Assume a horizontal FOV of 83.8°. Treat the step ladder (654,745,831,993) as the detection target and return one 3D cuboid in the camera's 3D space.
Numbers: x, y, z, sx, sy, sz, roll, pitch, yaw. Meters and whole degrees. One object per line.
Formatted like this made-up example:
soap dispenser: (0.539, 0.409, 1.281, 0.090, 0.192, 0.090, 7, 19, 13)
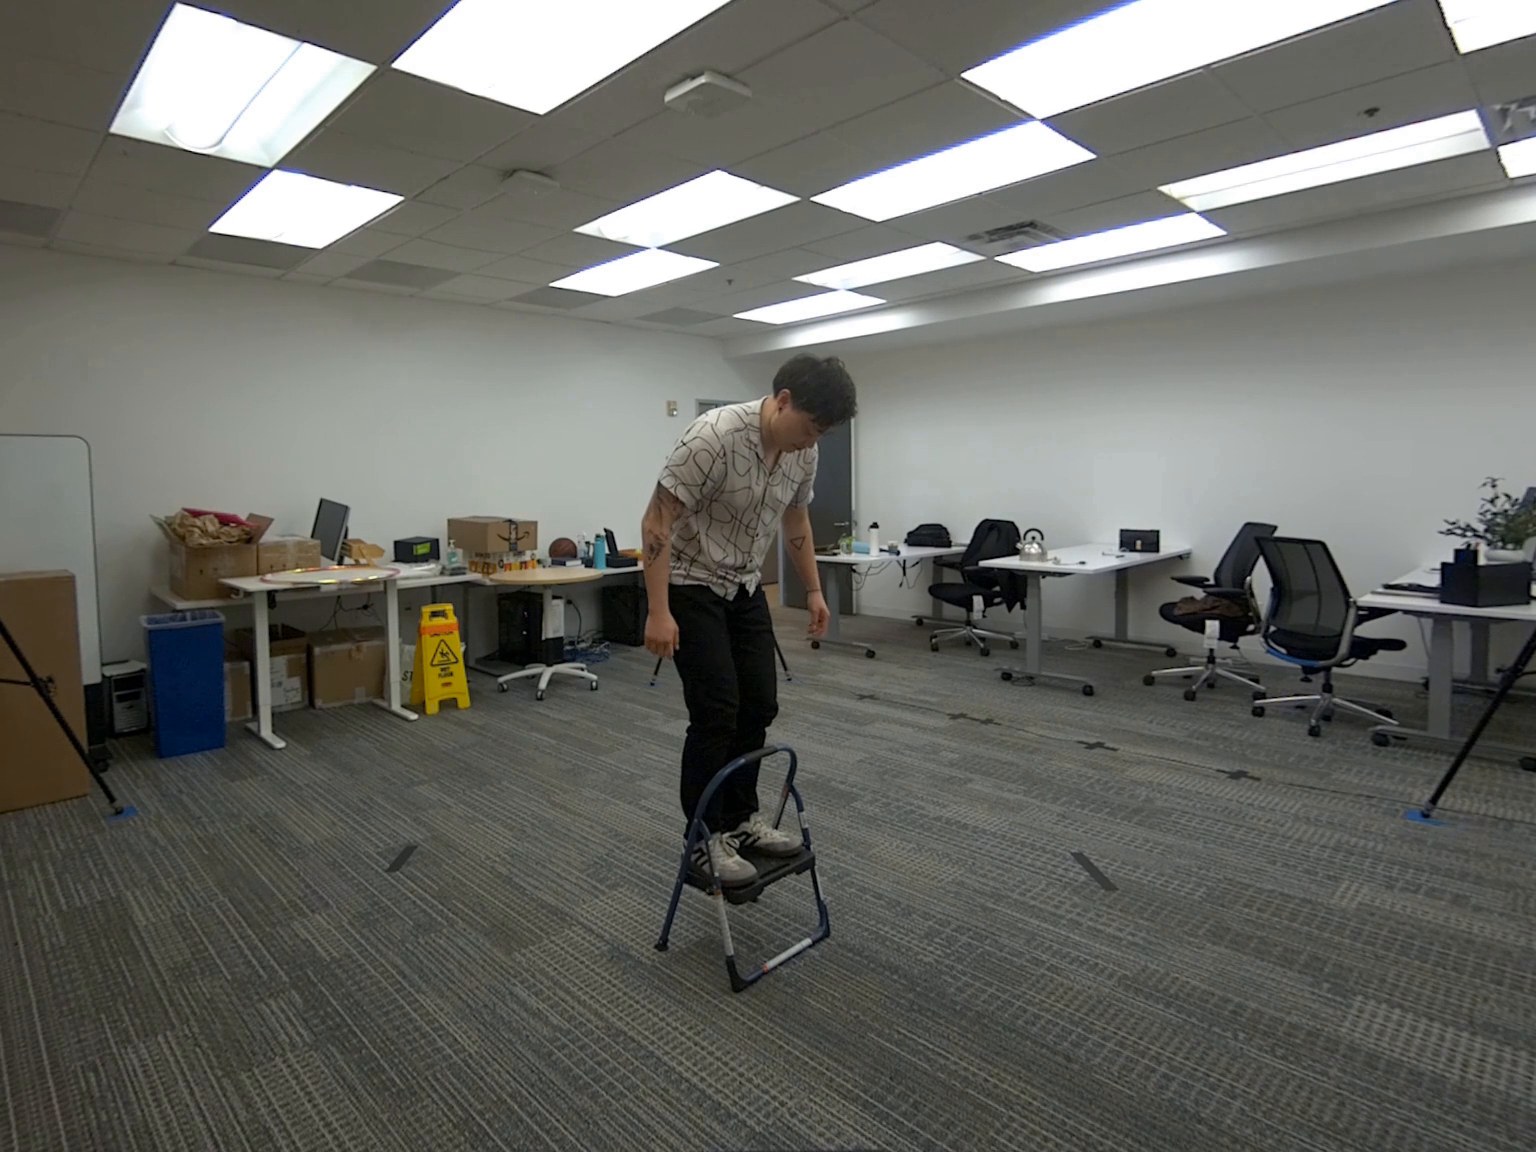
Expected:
step ladder: (-0.070, 0.802, 2.565, 0.360, 0.603, 0.419, 4, 7, 43)
